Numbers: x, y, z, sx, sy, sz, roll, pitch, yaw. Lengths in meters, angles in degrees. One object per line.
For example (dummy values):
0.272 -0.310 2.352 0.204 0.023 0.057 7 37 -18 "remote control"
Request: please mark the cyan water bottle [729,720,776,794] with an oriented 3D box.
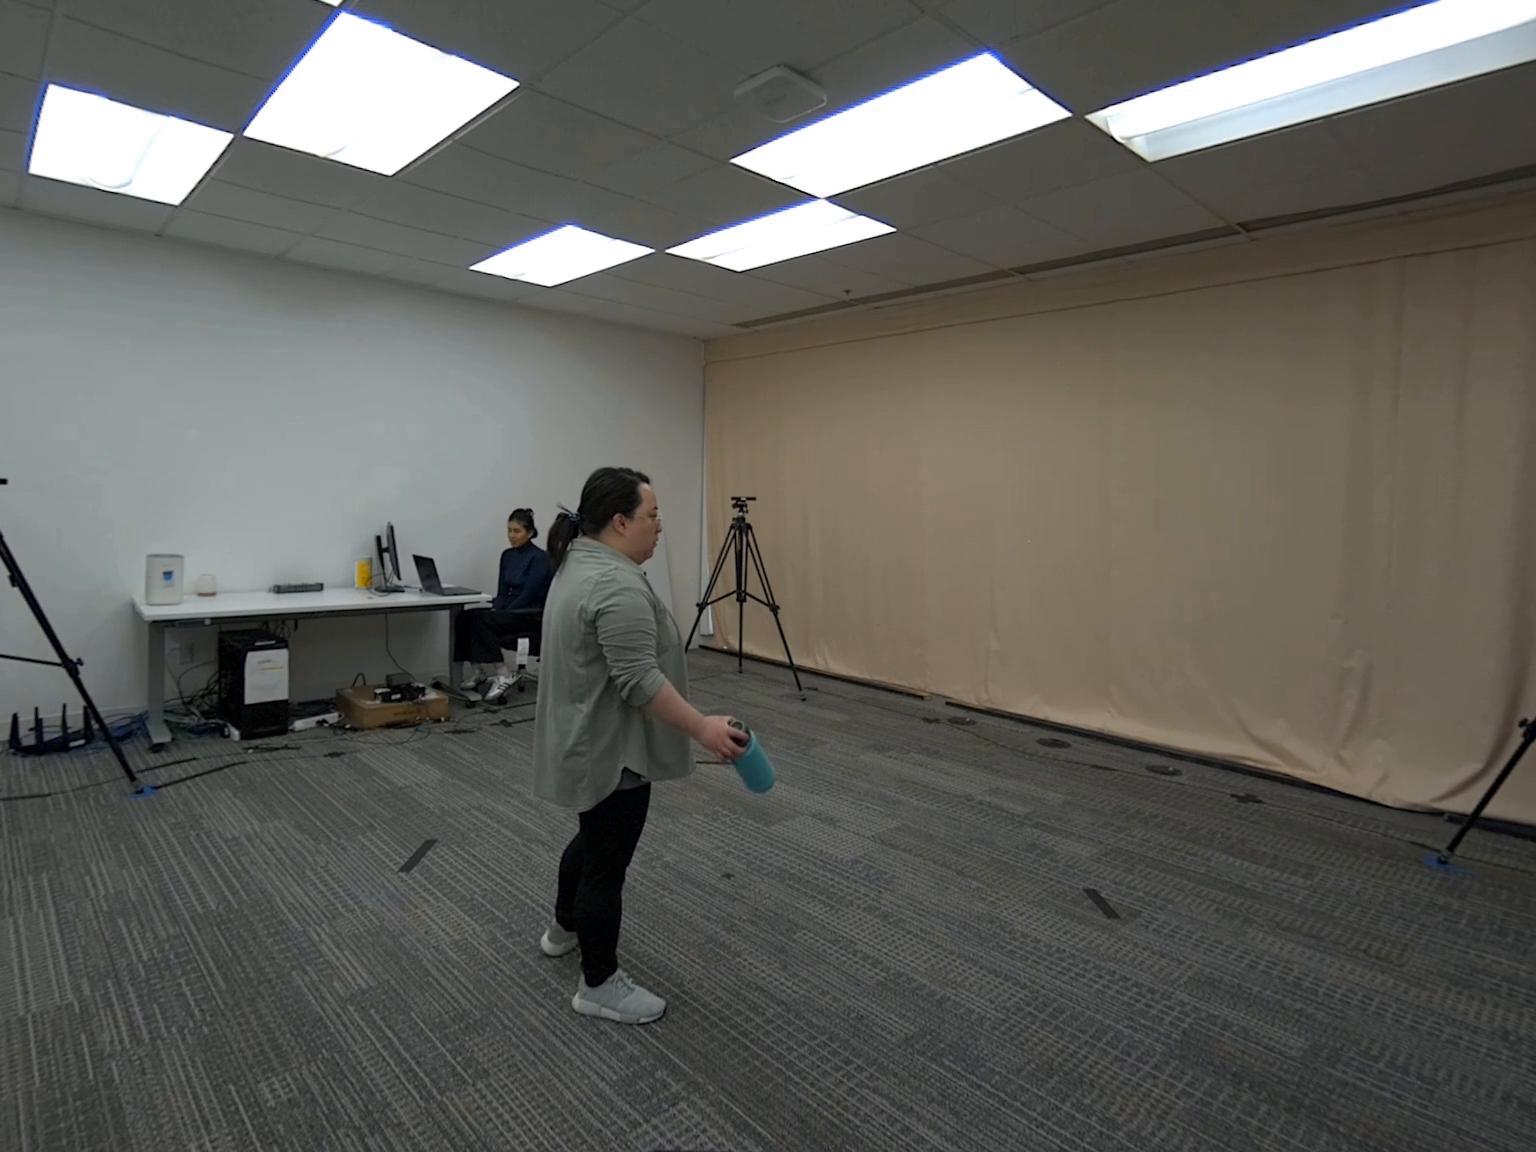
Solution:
-0.073 0.478 2.195 0.094 0.093 0.275 3 -39 22 "cyan water bottle"
